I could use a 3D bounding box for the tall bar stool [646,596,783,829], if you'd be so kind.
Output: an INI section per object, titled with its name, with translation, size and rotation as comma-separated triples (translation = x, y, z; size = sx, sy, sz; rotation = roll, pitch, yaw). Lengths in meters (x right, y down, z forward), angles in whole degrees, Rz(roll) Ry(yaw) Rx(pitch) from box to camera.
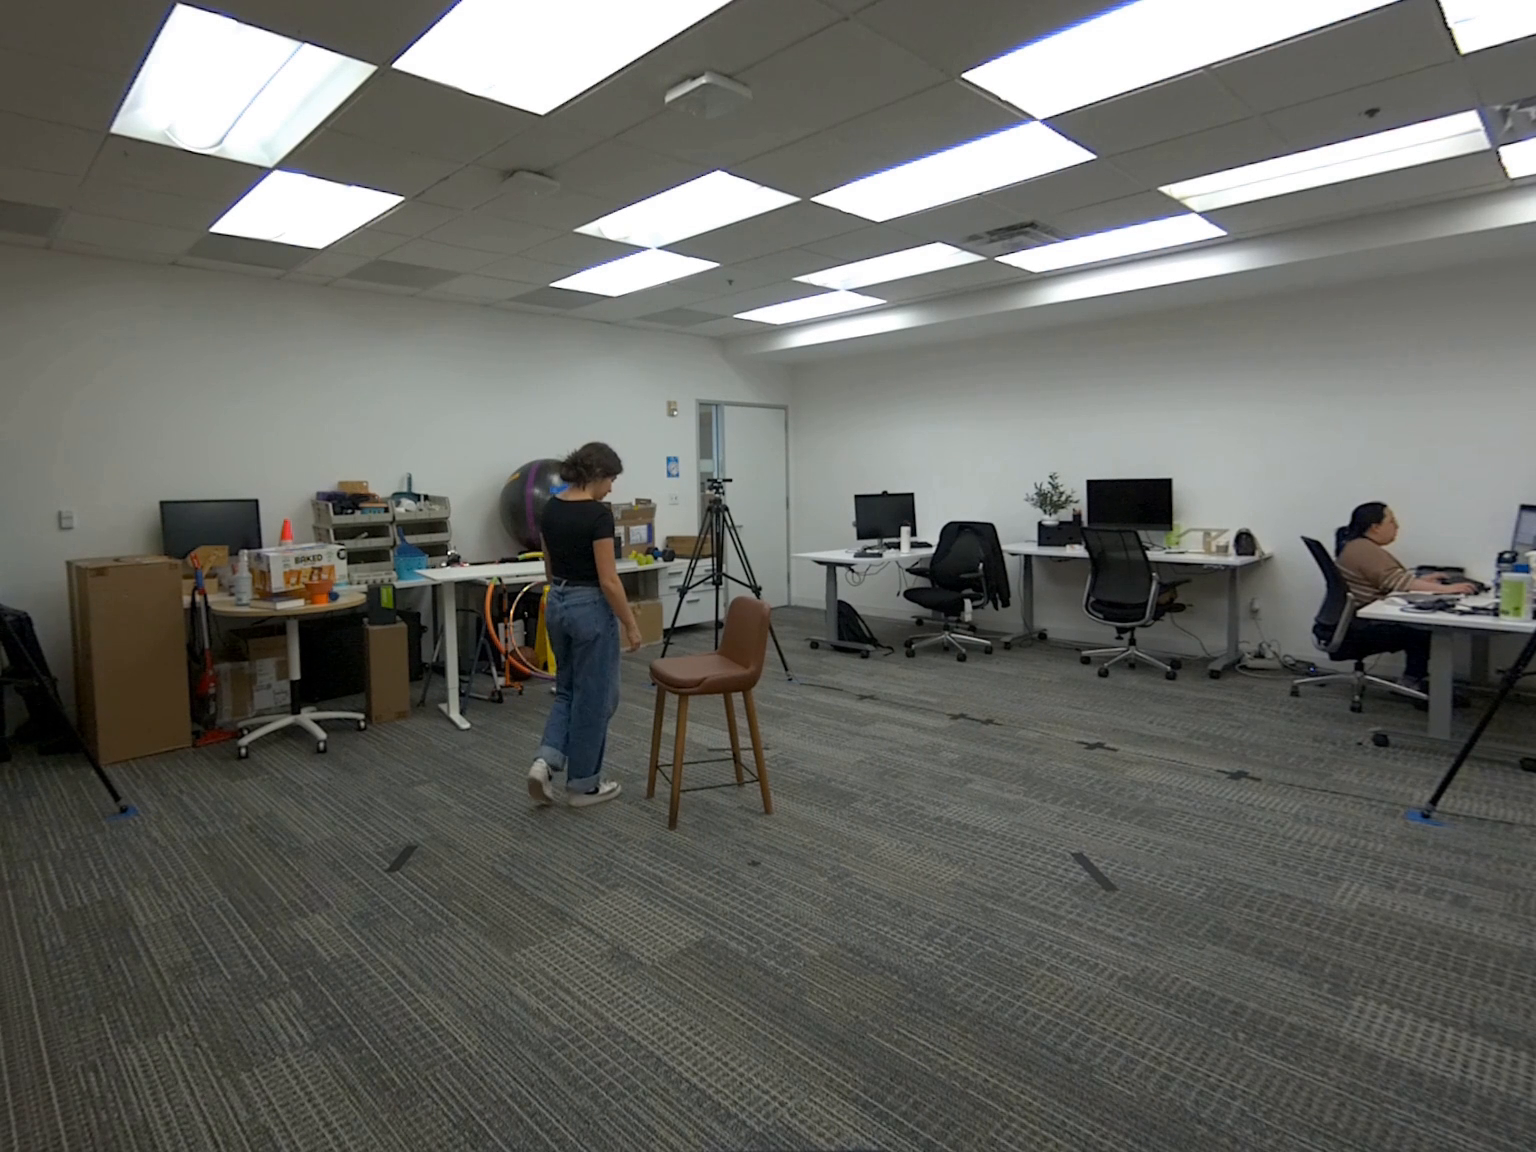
[tall bar stool]
translation = -0.258, 0.552, 3.647
size = 0.459, 0.887, 0.466
rotation = 0, 3, -21
